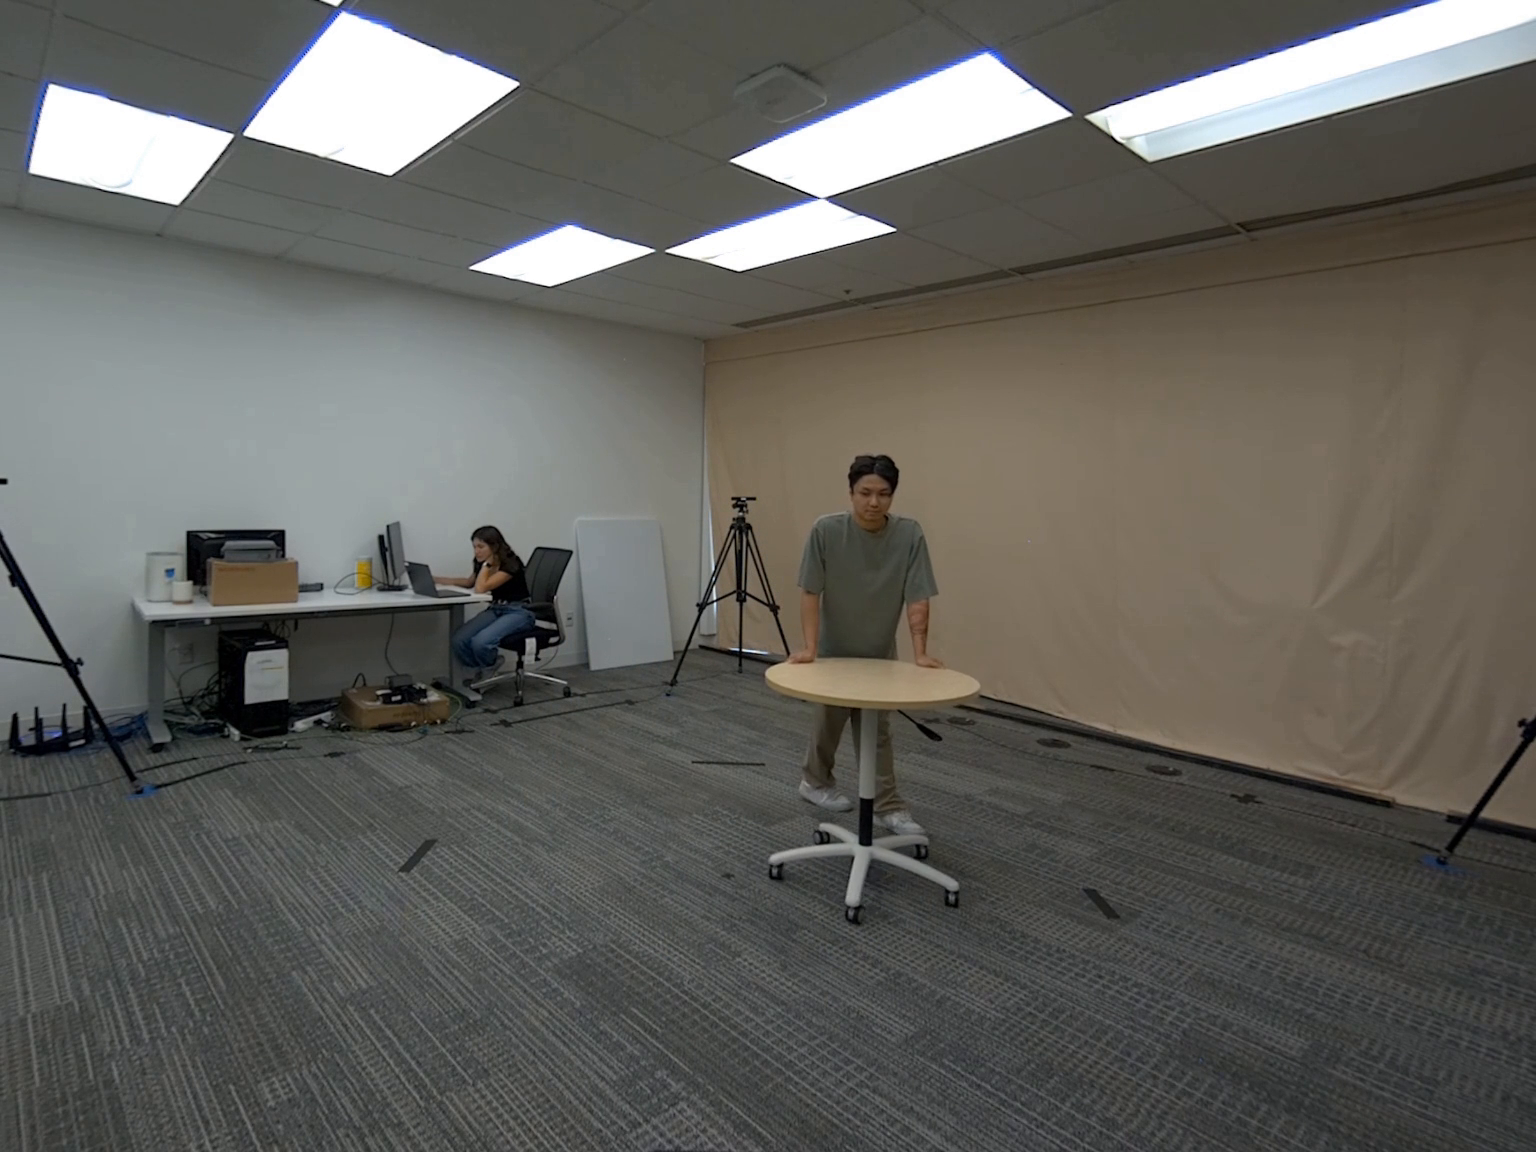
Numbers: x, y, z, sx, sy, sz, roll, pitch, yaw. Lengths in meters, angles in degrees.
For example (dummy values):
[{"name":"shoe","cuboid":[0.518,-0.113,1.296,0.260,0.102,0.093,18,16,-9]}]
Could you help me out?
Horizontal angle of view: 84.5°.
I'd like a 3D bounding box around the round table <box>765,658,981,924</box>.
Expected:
[{"name":"round table","cuboid":[0.338,0.744,3.073,0.784,0.785,0.787,2,4,-1]}]
